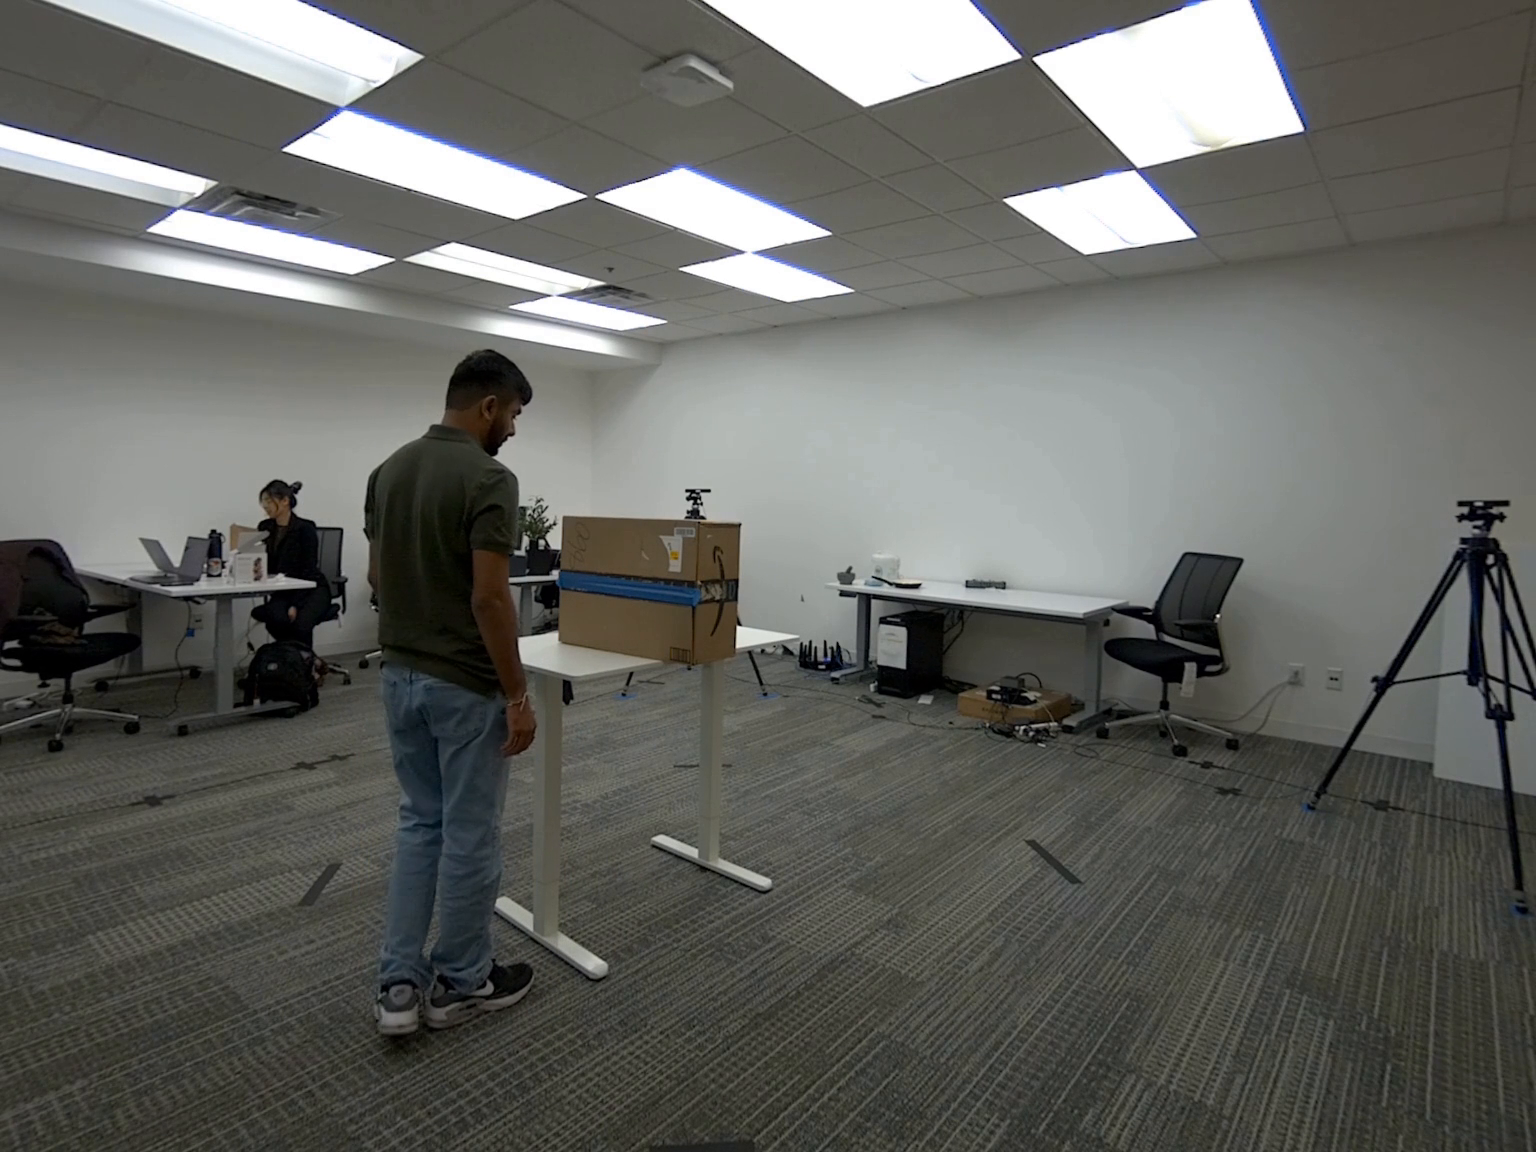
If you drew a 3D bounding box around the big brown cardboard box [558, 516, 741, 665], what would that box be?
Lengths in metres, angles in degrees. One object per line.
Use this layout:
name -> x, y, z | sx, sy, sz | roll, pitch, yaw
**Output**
big brown cardboard box -> -0.389, 0.026, 2.674 | 0.608, 0.417, 0.226 | 4, 3, 36
